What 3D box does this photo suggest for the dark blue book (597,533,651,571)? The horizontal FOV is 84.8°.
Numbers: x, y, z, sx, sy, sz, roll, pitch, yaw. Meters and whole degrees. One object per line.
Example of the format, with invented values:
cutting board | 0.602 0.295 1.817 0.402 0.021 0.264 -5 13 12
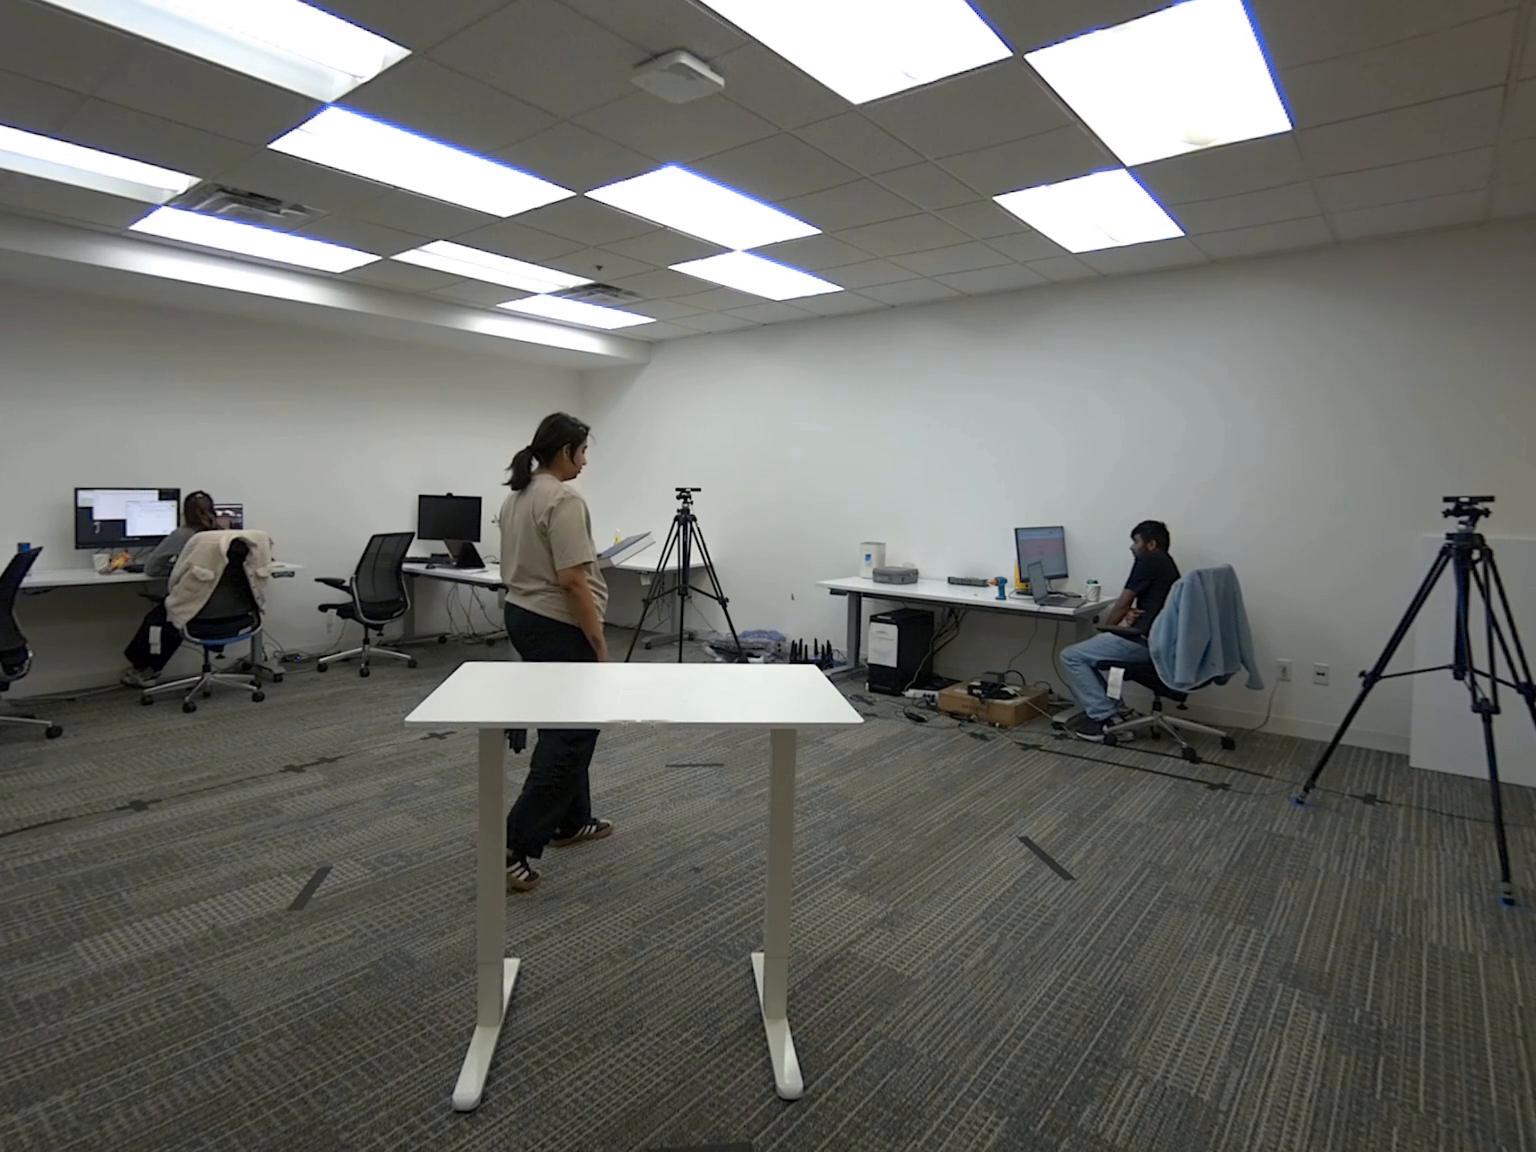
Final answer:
dark blue book | -0.591 -0.093 3.351 0.168 0.044 0.243 -7 20 40
